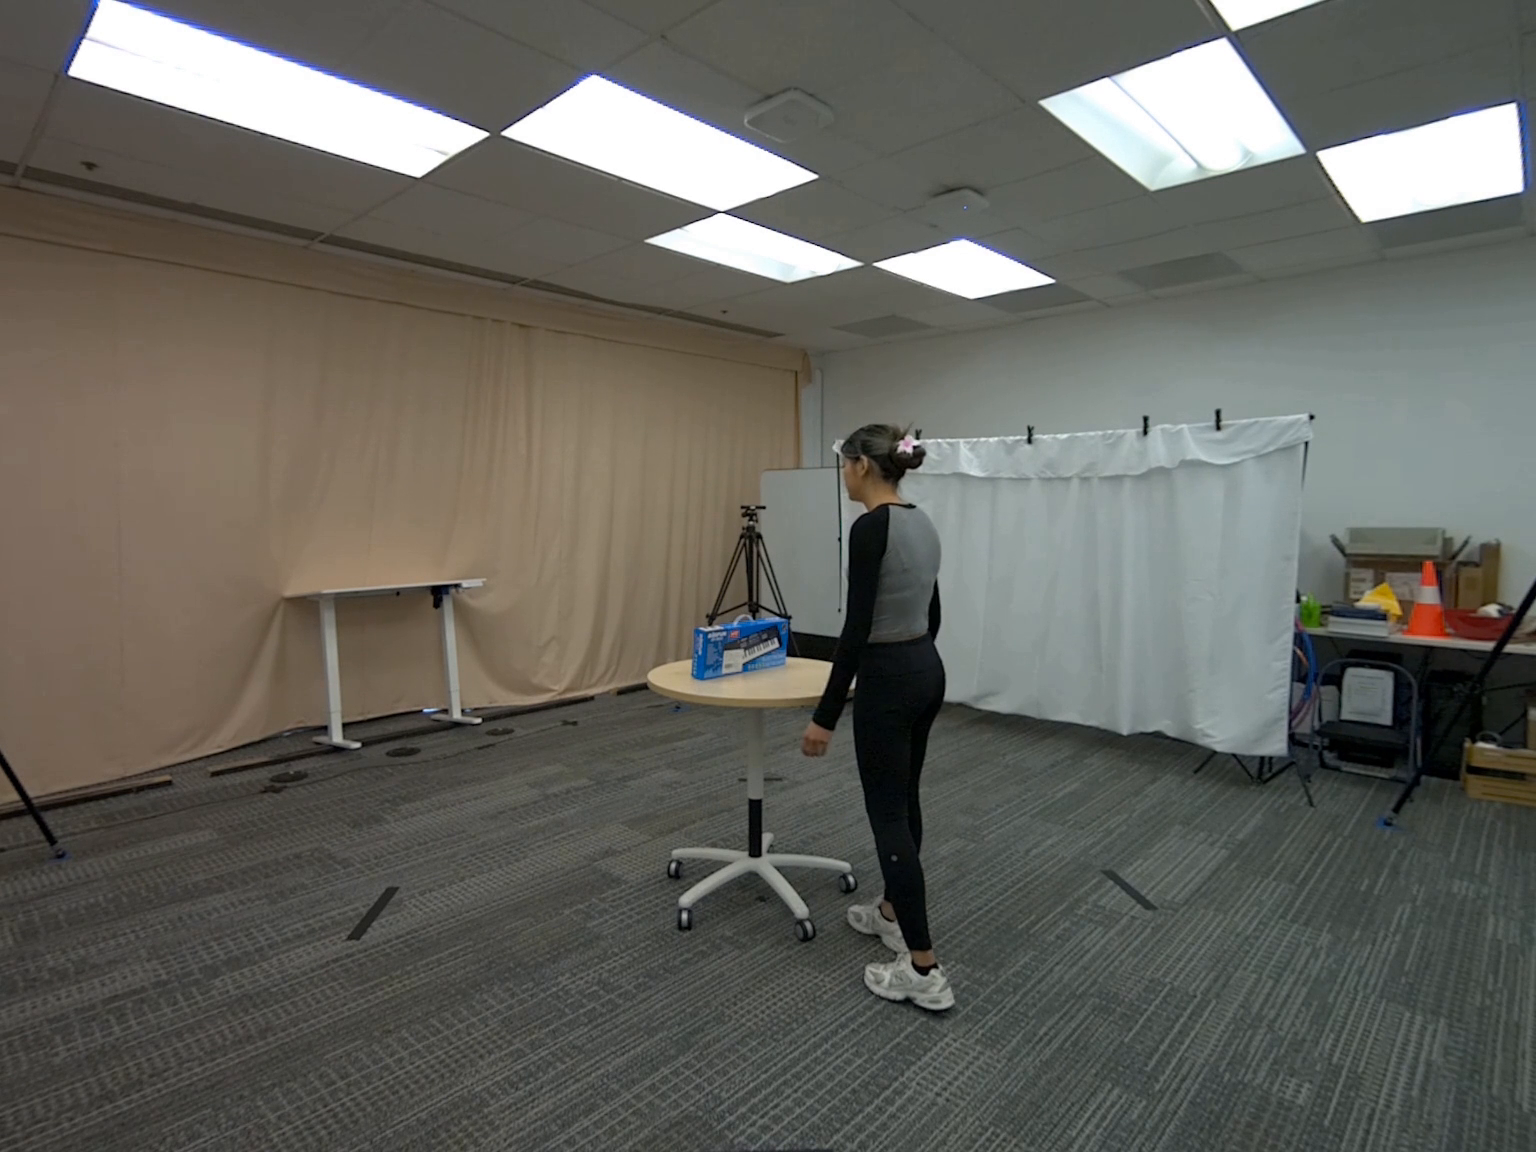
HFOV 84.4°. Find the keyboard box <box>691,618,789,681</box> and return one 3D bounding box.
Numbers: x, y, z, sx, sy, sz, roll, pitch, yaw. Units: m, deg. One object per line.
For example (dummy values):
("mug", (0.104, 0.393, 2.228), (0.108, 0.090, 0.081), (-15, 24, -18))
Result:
("keyboard box", (-0.093, 0.260, 3.043), (0.061, 0.175, 0.423), (10, 10, 43))
